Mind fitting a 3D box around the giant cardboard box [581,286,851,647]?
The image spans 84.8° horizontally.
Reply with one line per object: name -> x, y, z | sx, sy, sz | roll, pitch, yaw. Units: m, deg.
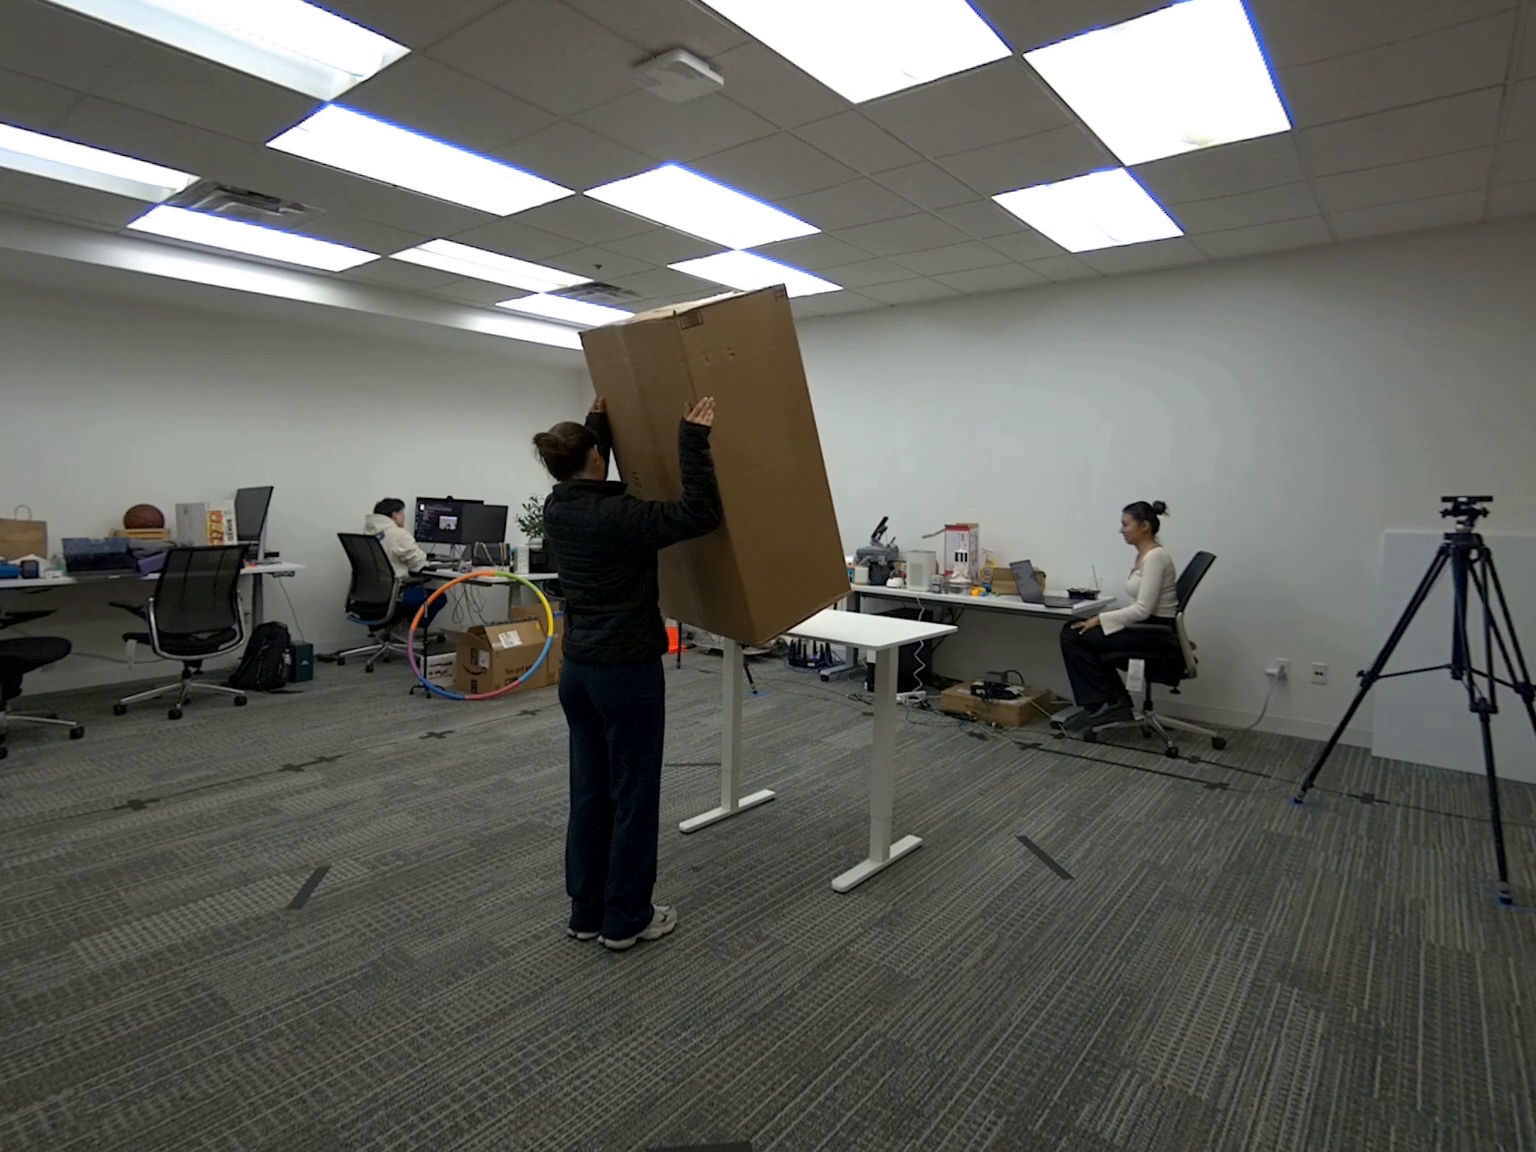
giant cardboard box -> -0.154, -0.366, 2.798 | 0.440, 1.007, 0.604 | -24, 20, -31
